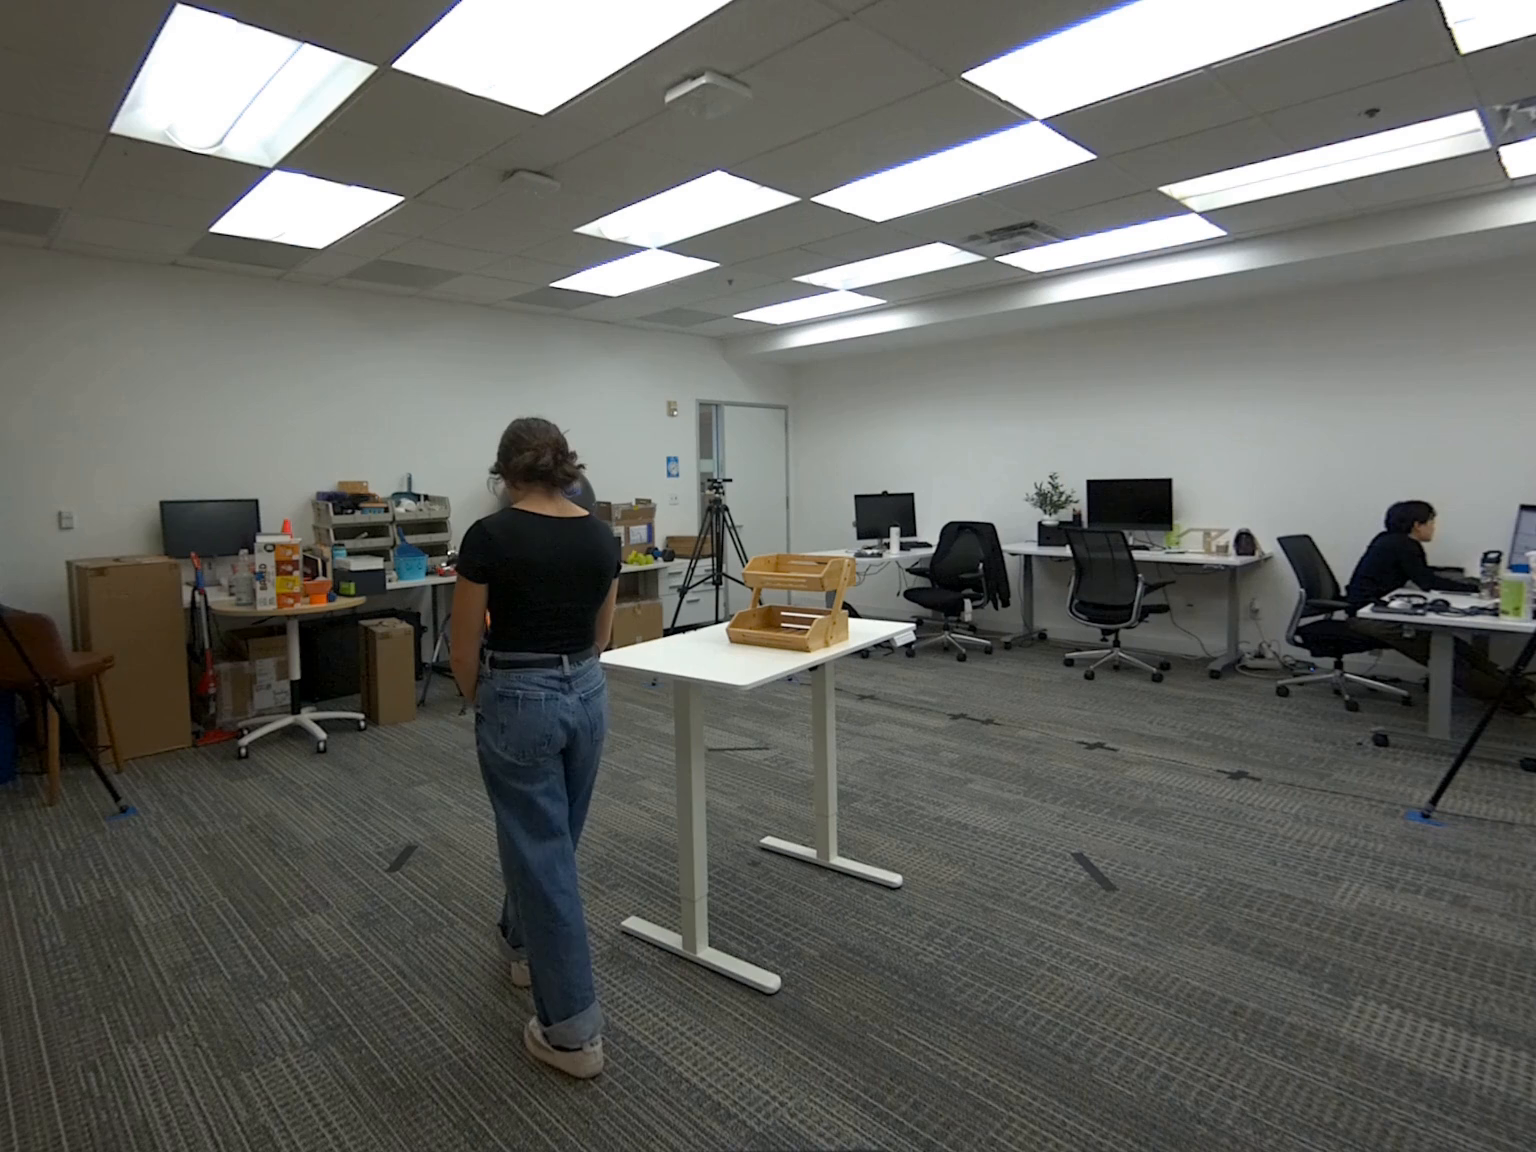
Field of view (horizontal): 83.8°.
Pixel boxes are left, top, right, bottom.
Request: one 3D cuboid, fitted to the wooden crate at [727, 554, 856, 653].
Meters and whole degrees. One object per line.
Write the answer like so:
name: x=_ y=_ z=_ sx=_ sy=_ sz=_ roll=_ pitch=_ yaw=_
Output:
wooden crate: x=0.077 y=0.073 z=2.708 sx=0.334 sy=0.272 sz=0.295 roll=2 pitch=6 yaw=35
